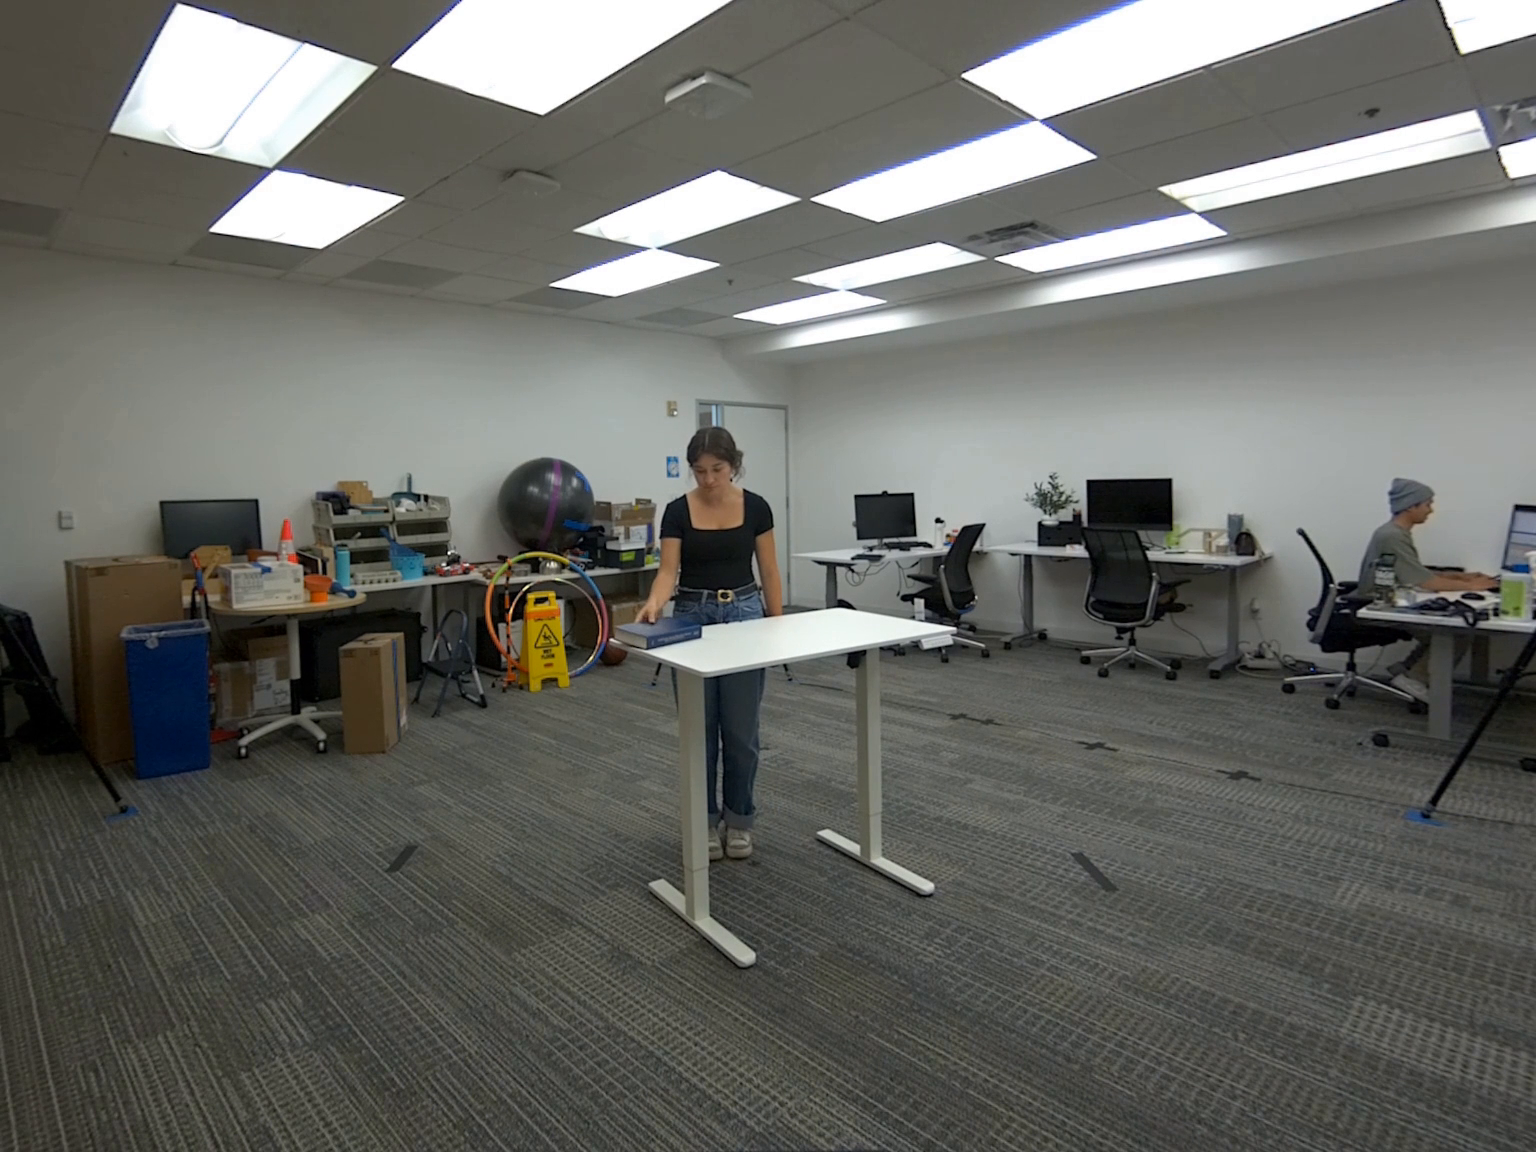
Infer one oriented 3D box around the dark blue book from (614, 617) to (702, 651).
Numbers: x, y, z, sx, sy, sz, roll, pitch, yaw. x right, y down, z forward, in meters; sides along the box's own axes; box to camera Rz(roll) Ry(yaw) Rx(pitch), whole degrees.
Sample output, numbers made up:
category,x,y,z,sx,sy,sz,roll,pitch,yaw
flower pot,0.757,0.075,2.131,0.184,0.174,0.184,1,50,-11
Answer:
category,x,y,z,sx,sy,sz,roll,pitch,yaw
dark blue book,-0.357,0.186,2.758,0.169,0.045,0.239,11,13,41
